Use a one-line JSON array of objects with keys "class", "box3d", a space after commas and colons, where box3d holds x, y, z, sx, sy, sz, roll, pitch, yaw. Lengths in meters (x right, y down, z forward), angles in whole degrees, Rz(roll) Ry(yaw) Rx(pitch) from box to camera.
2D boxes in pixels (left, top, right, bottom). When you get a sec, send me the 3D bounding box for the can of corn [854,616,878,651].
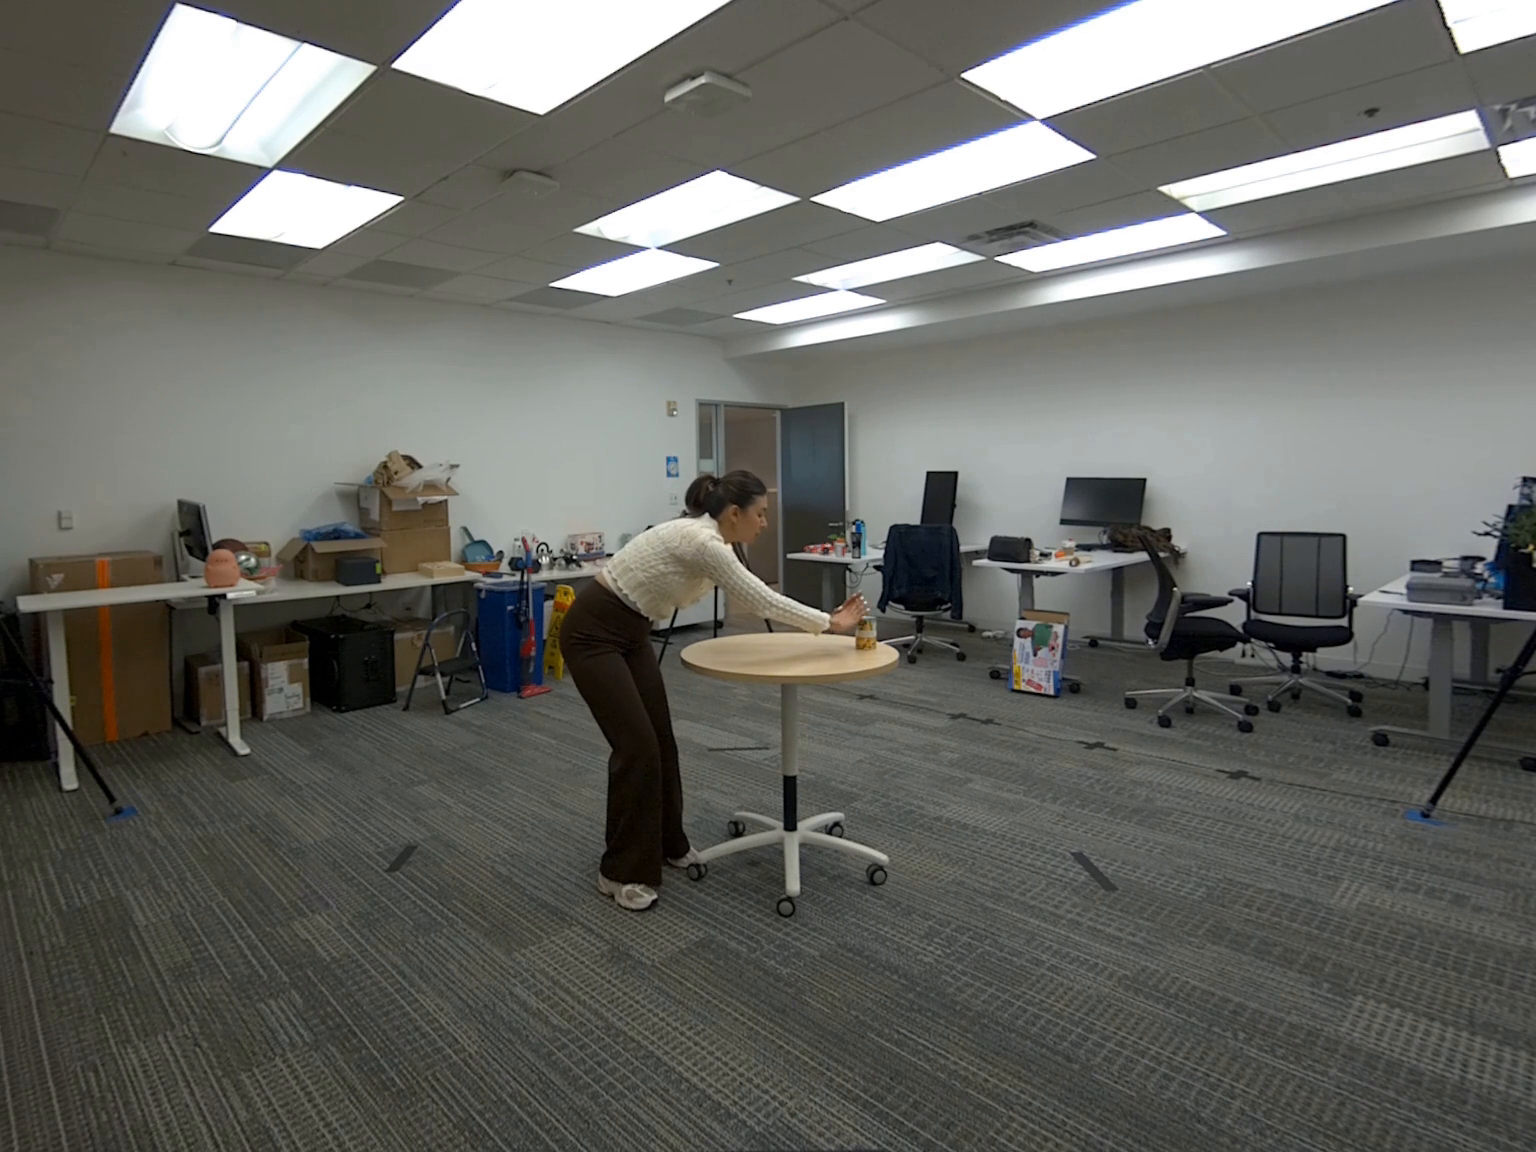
[{"class": "can of corn", "box3d": [0.348, 0.204, 3.057, 0.074, 0.110, 0.074, 0, 5, -2]}]
